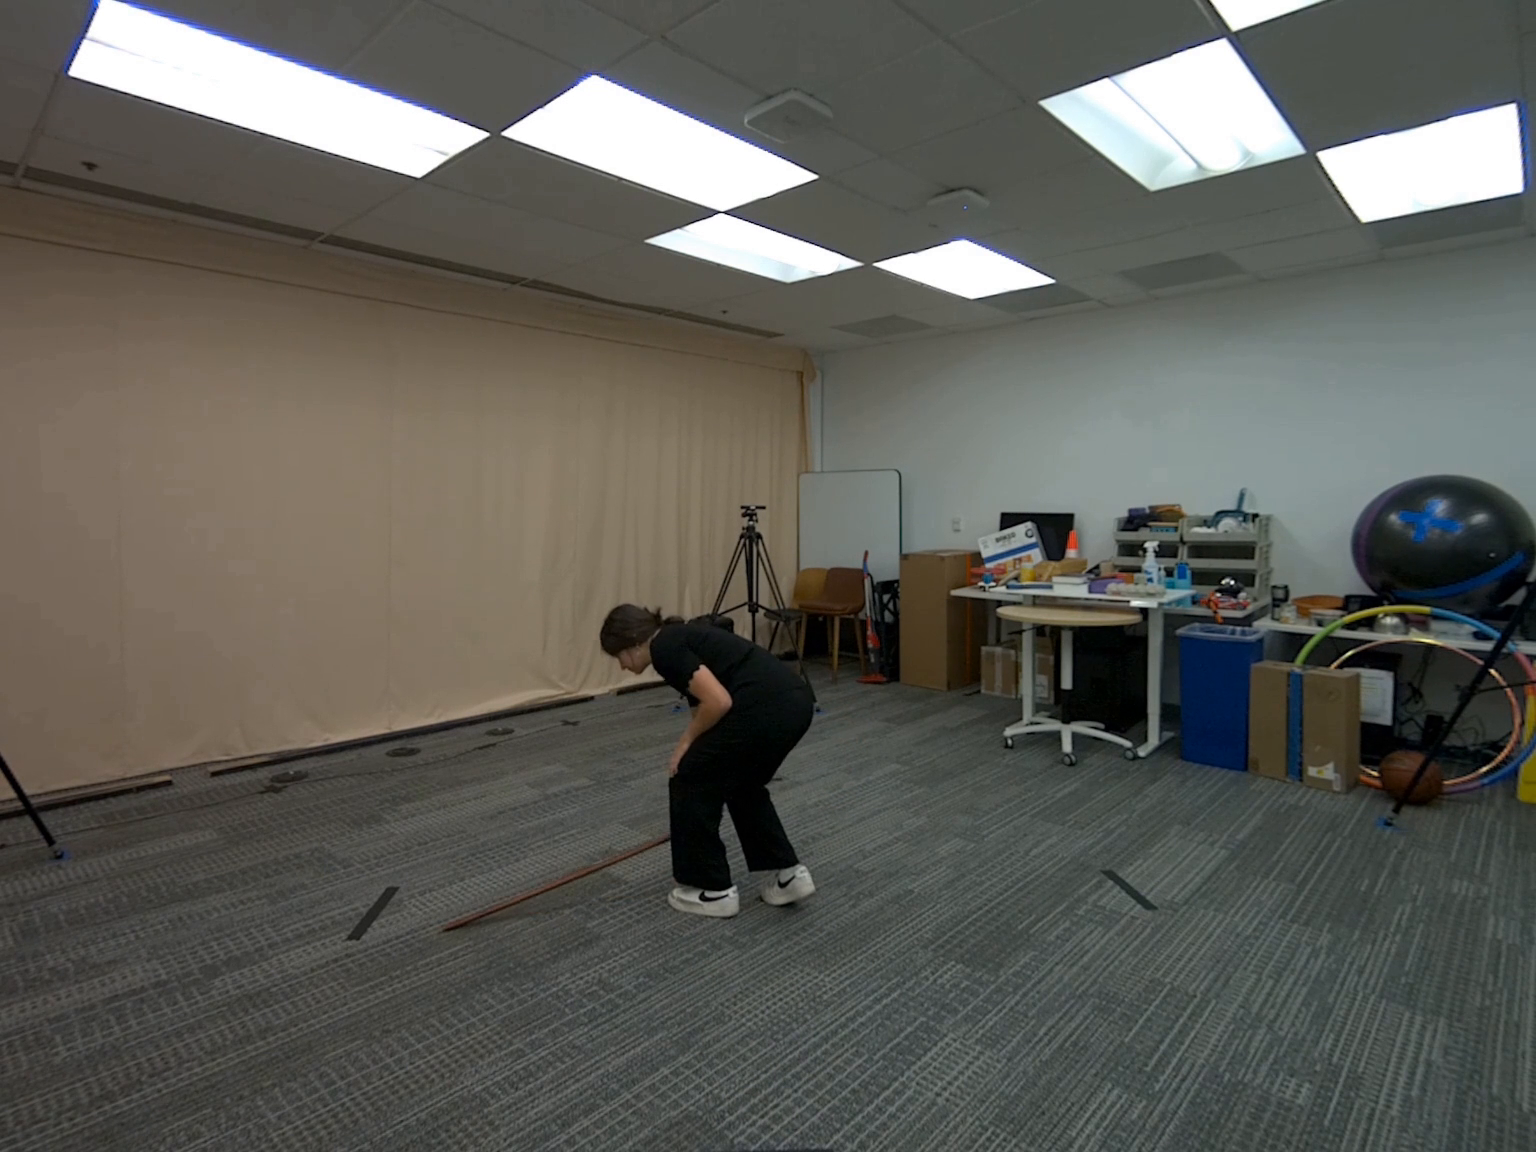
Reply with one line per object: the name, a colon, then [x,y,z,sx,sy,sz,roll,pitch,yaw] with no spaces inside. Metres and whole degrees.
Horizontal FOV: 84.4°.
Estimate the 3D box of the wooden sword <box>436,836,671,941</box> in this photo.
wooden sword: [-0.638,1.053,2.981,1.002,0.051,0.025,-13,13,-27]
